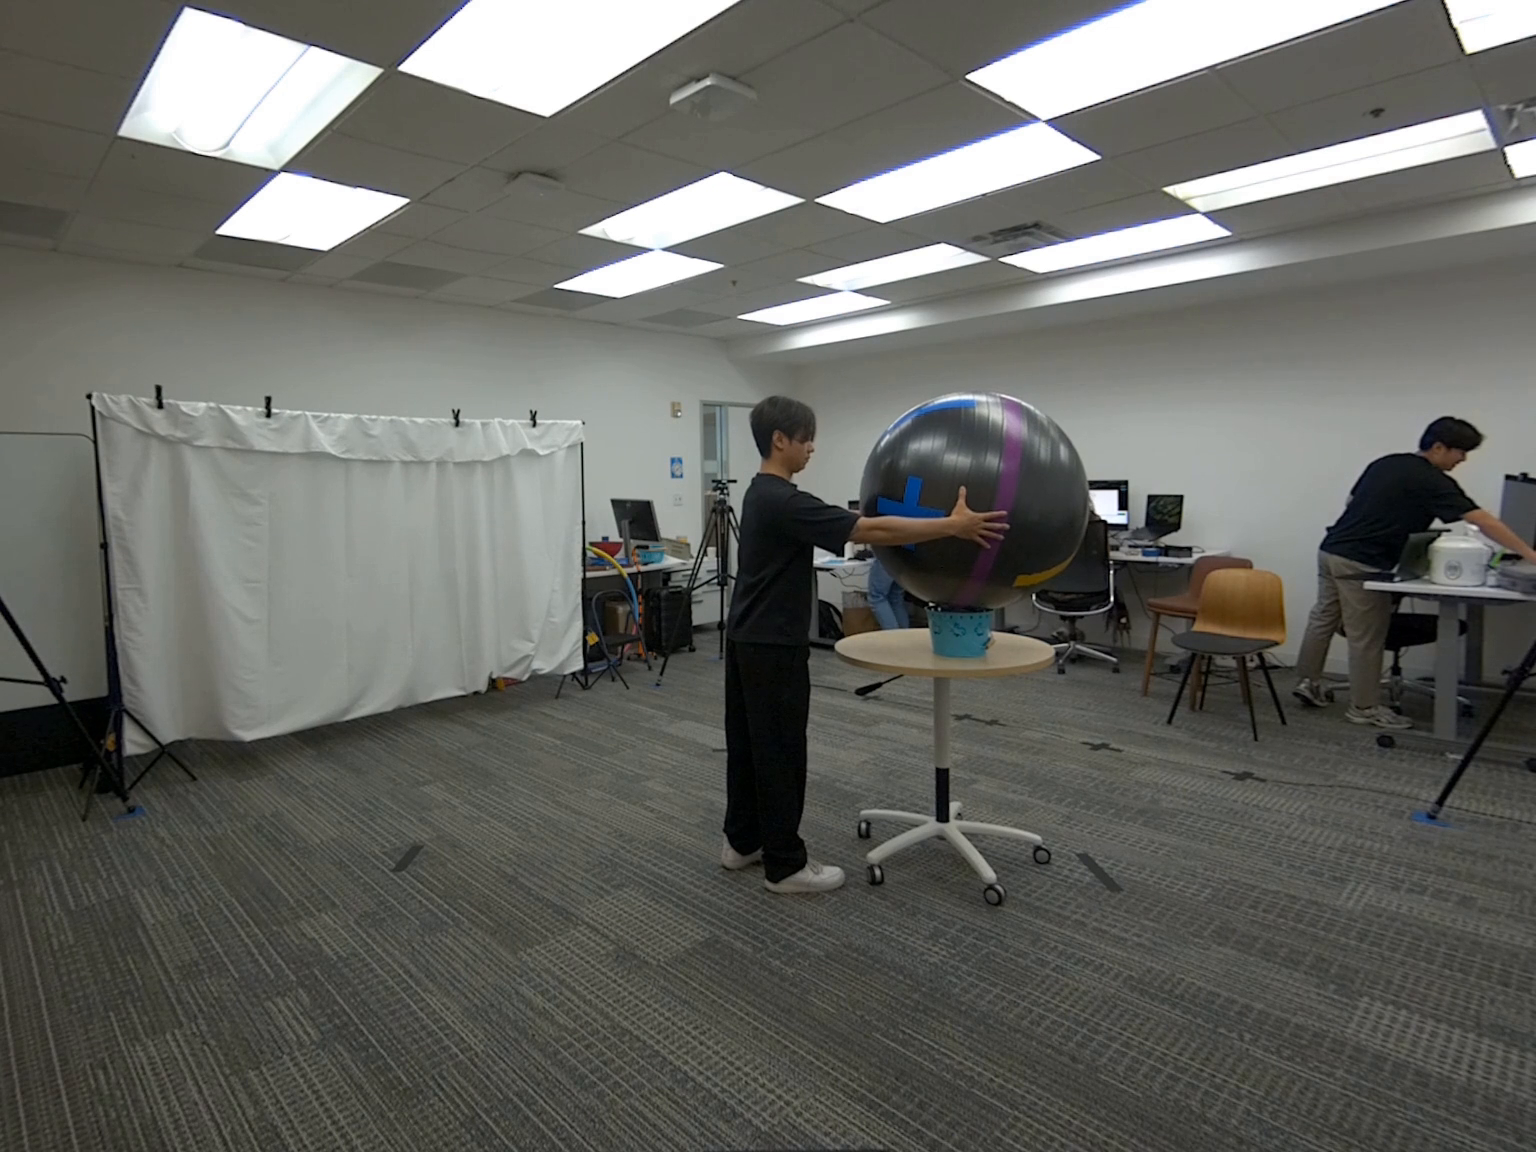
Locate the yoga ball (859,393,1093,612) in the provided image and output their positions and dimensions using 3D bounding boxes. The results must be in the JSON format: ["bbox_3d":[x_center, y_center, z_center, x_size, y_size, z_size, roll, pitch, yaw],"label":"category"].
[{"bbox_3d":[0.716,-0.258,2.970,0.757,0.755,0.762,-1,5,-2],"label":"yoga ball"}]
